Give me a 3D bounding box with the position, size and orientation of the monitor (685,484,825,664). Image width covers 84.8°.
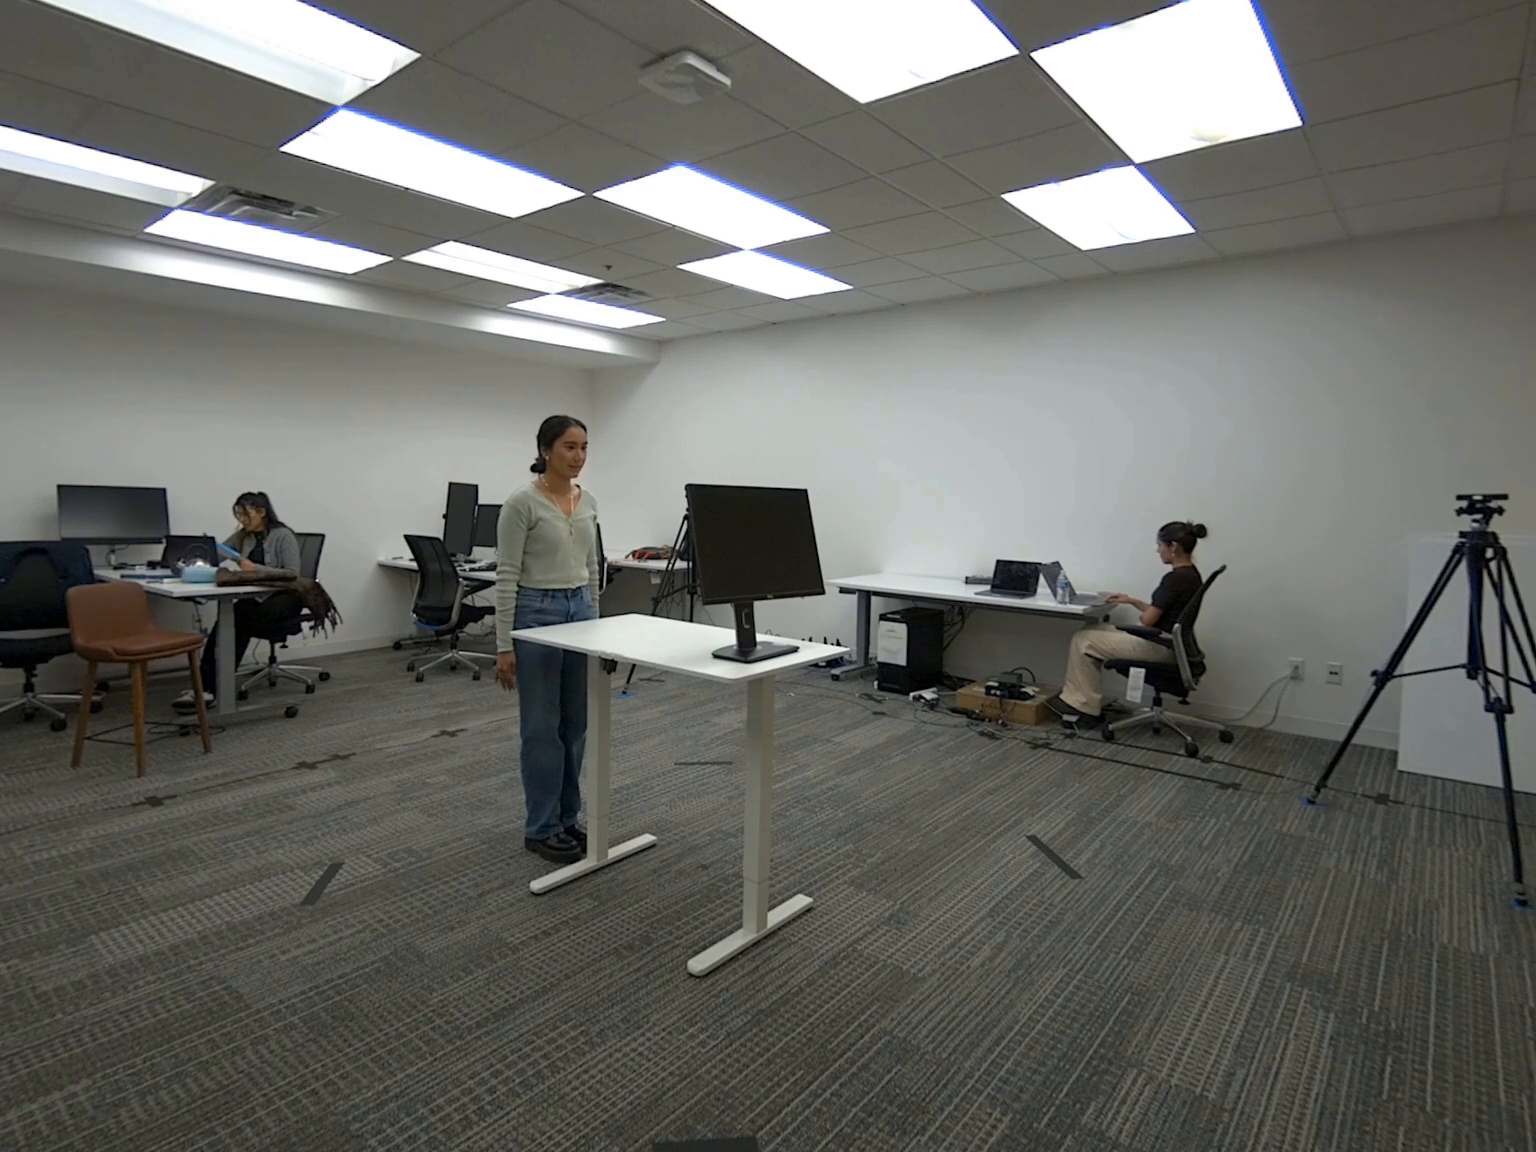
[{"bbox_3d":[-0.058,-0.014,2.606,0.193,0.522,0.523,1,2,41],"label":"monitor"}]
